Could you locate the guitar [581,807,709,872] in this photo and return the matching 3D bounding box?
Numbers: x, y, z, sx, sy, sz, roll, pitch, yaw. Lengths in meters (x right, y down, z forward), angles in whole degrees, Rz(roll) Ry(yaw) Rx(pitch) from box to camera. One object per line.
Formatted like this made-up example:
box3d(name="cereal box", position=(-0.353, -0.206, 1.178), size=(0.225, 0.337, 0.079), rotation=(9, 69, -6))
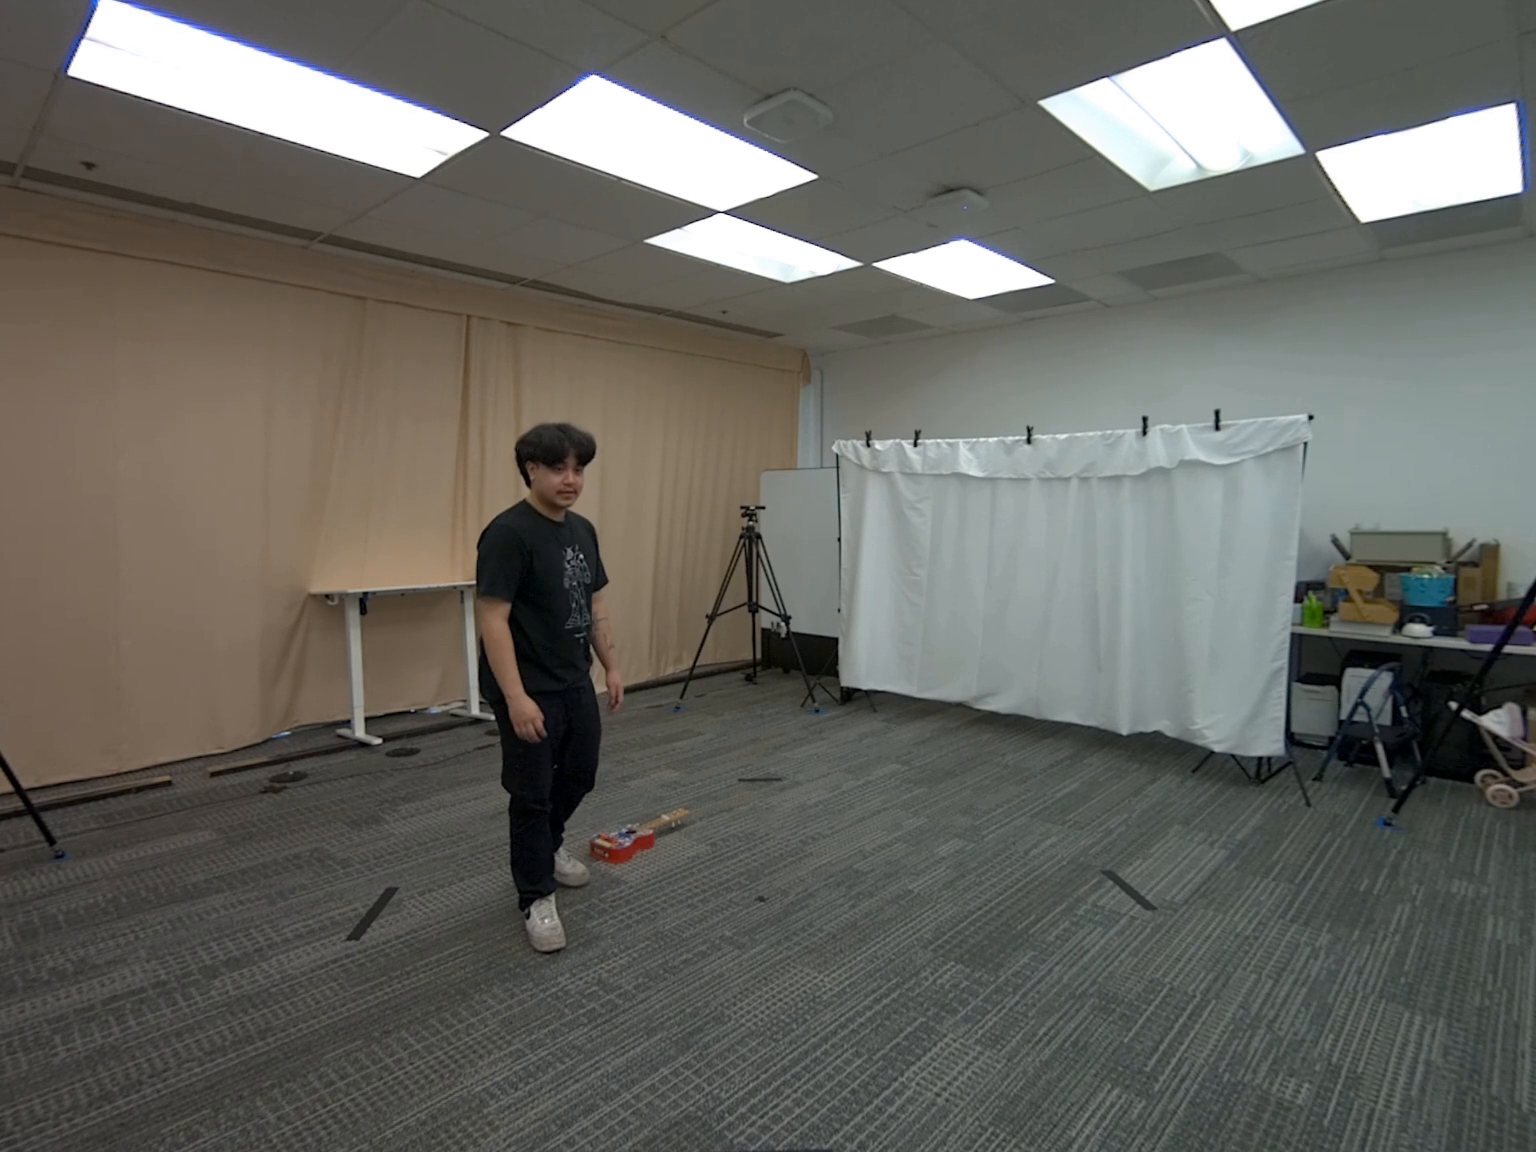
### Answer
box3d(name="guitar", position=(-0.502, 1.073, 3.480), size=(0.483, 0.070, 0.199), rotation=(-6, 6, -41))
